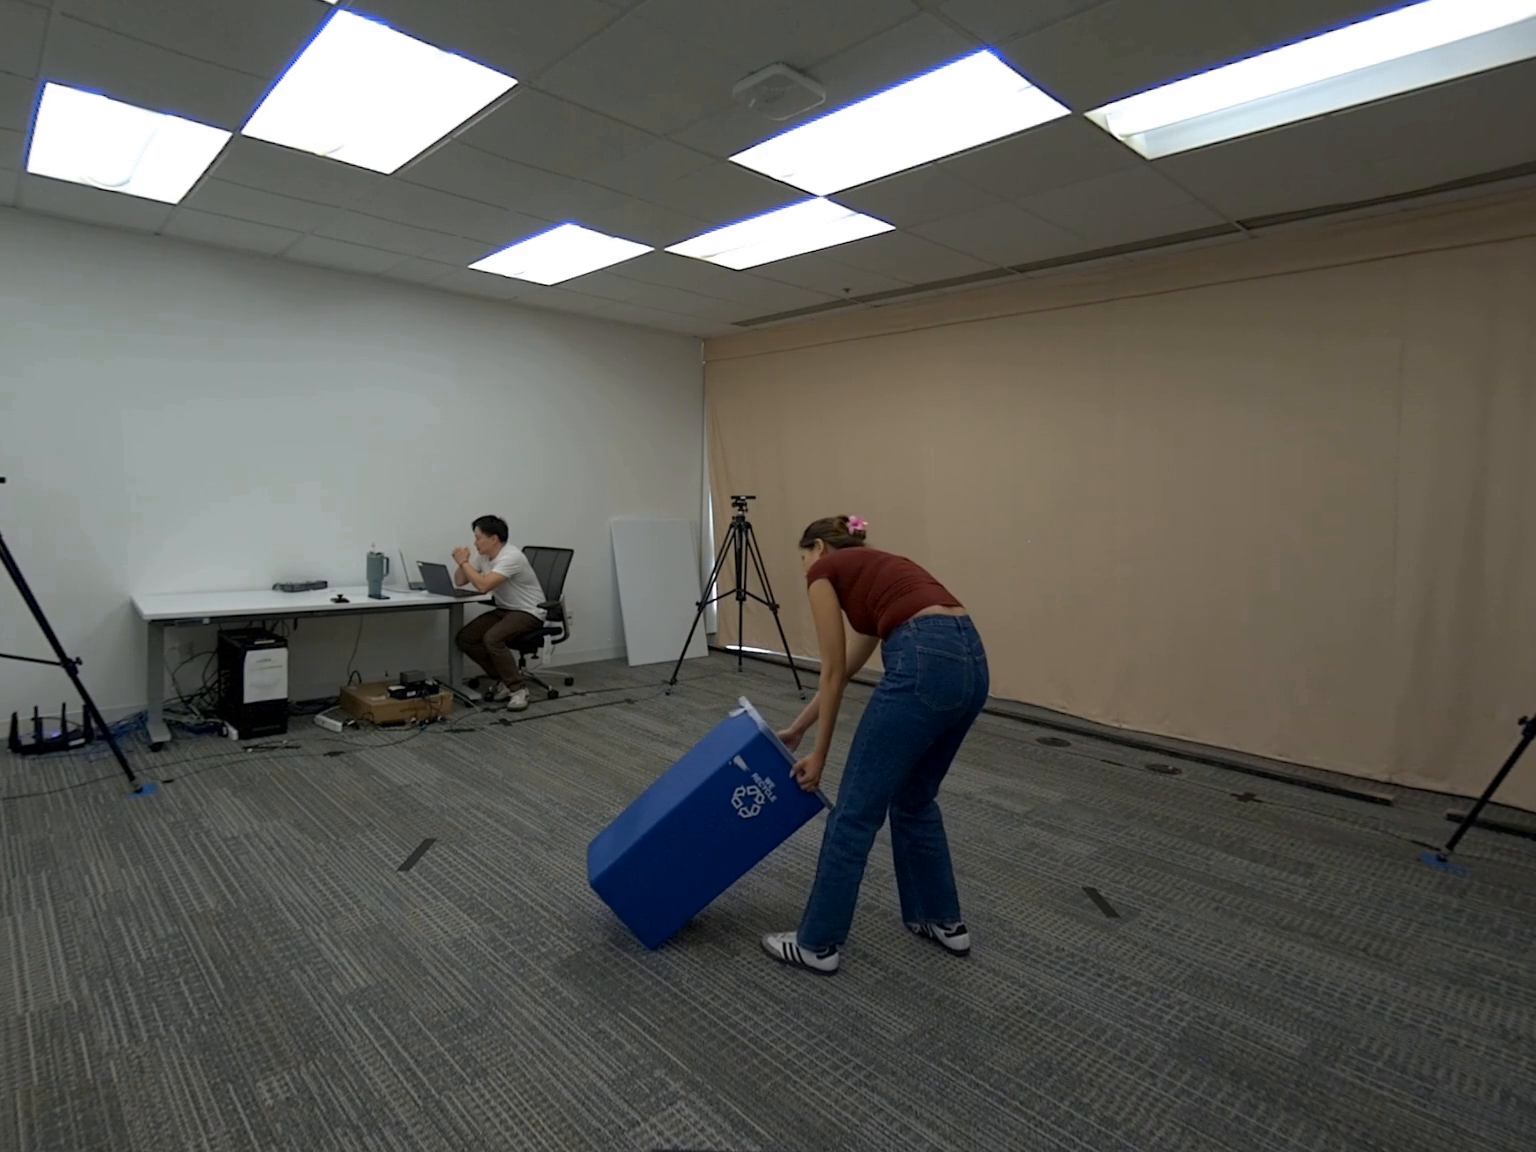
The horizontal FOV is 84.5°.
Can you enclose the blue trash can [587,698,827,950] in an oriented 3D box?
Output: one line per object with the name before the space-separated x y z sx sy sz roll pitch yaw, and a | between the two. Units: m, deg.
blue trash can | -0.210 0.797 2.717 0.713 0.370 0.382 -41 10 -5
